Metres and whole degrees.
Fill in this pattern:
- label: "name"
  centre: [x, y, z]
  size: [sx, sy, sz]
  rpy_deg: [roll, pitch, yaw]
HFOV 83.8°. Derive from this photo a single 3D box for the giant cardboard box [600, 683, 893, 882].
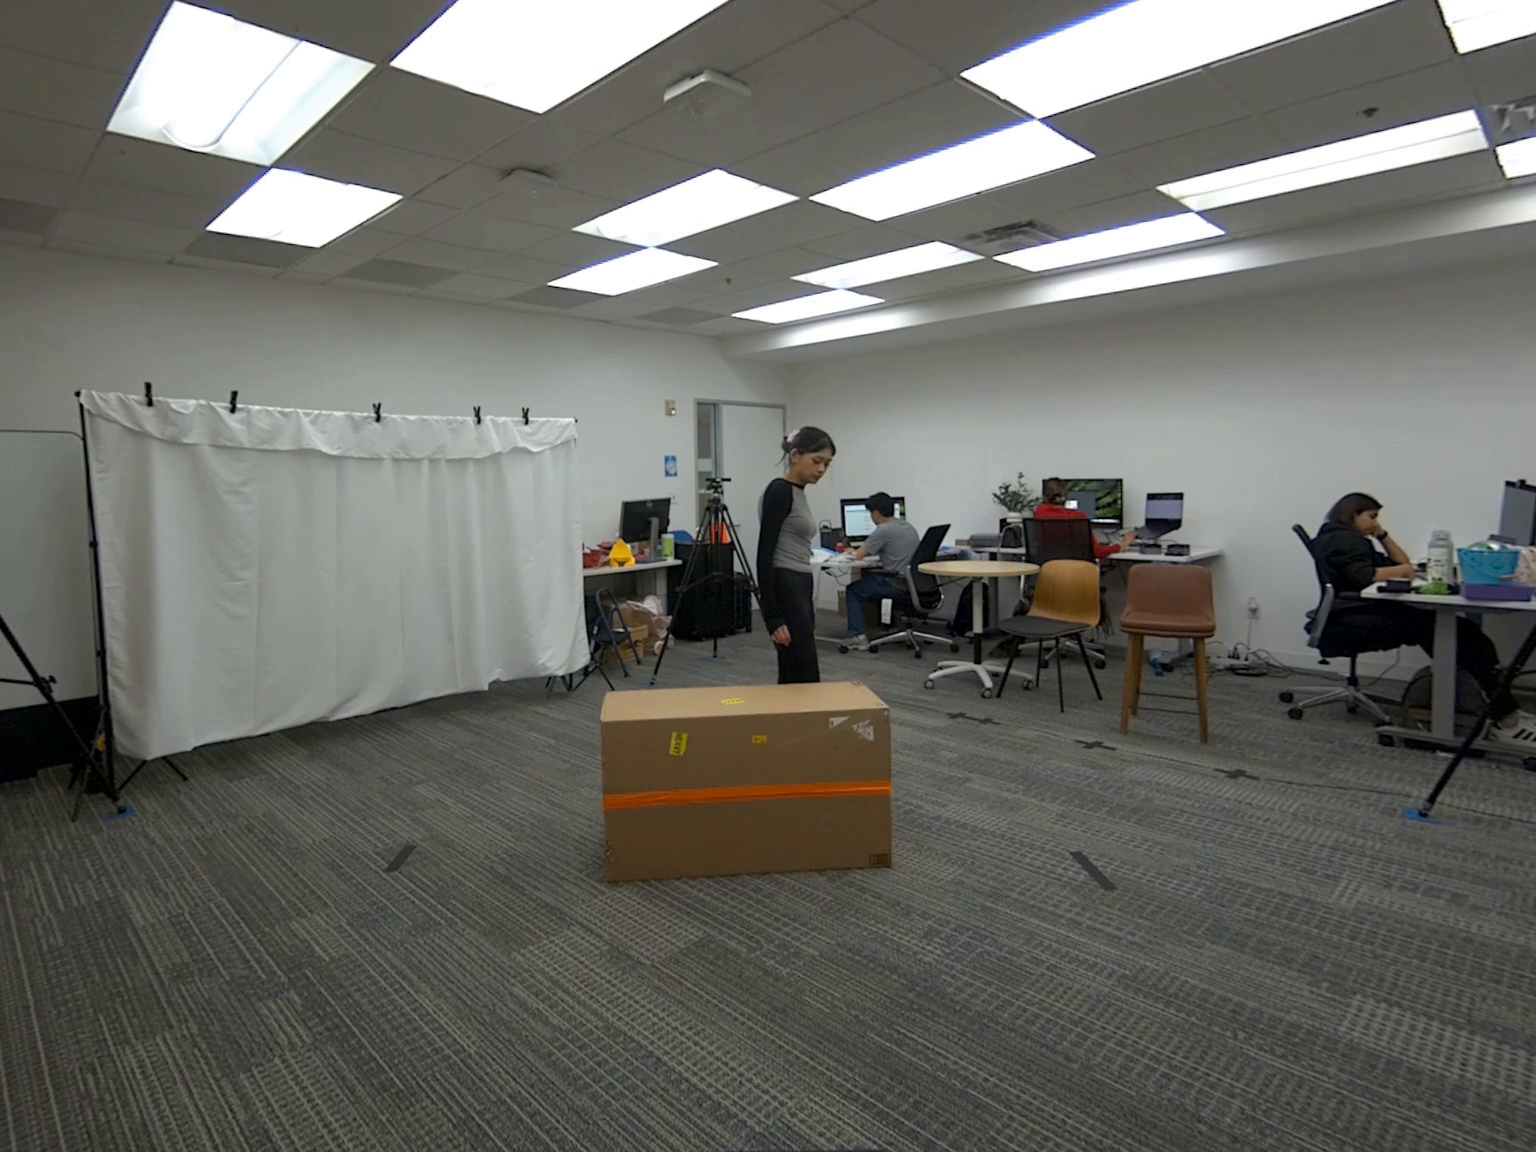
- label: "giant cardboard box"
  centre: [-0.096, 0.742, 3.195]
  size: [1.020, 0.576, 0.430]
  rpy_deg: [-2, 4, -5]
